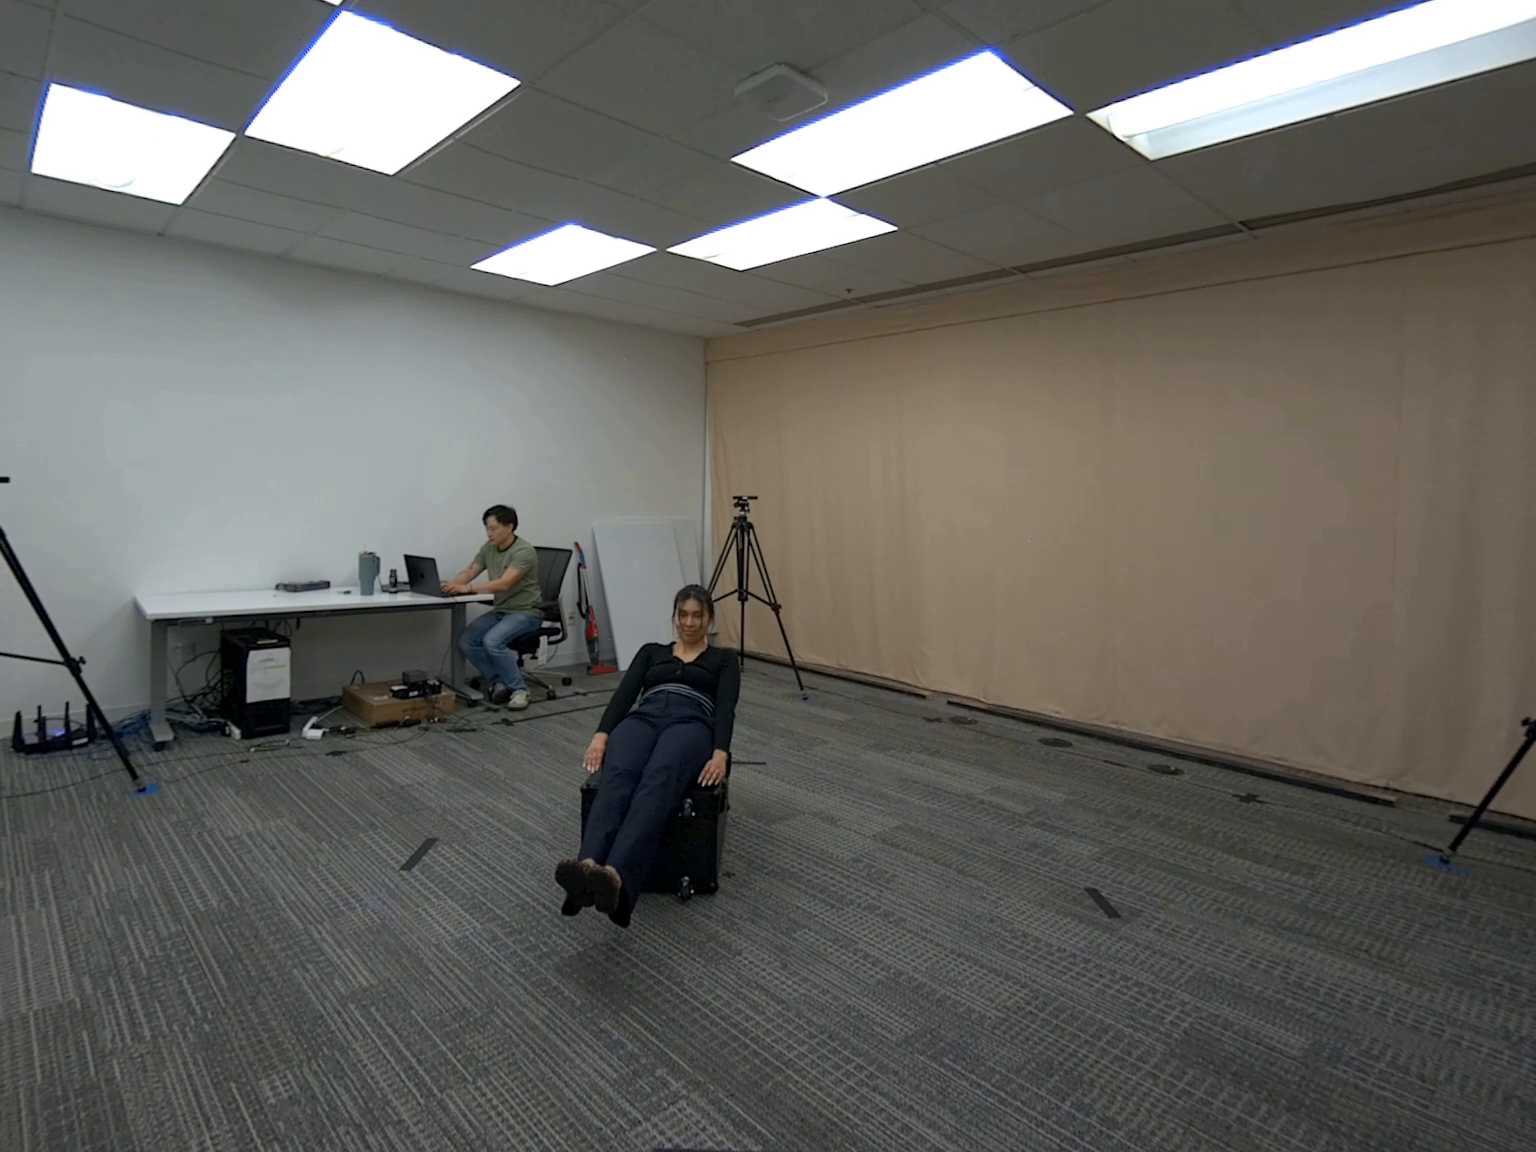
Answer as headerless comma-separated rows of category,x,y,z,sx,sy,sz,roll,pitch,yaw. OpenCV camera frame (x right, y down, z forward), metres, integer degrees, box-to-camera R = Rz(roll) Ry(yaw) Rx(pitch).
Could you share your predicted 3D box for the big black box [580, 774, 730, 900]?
big black box,-0.417,0.884,3.274,0.522,0.395,0.863,1,5,0
